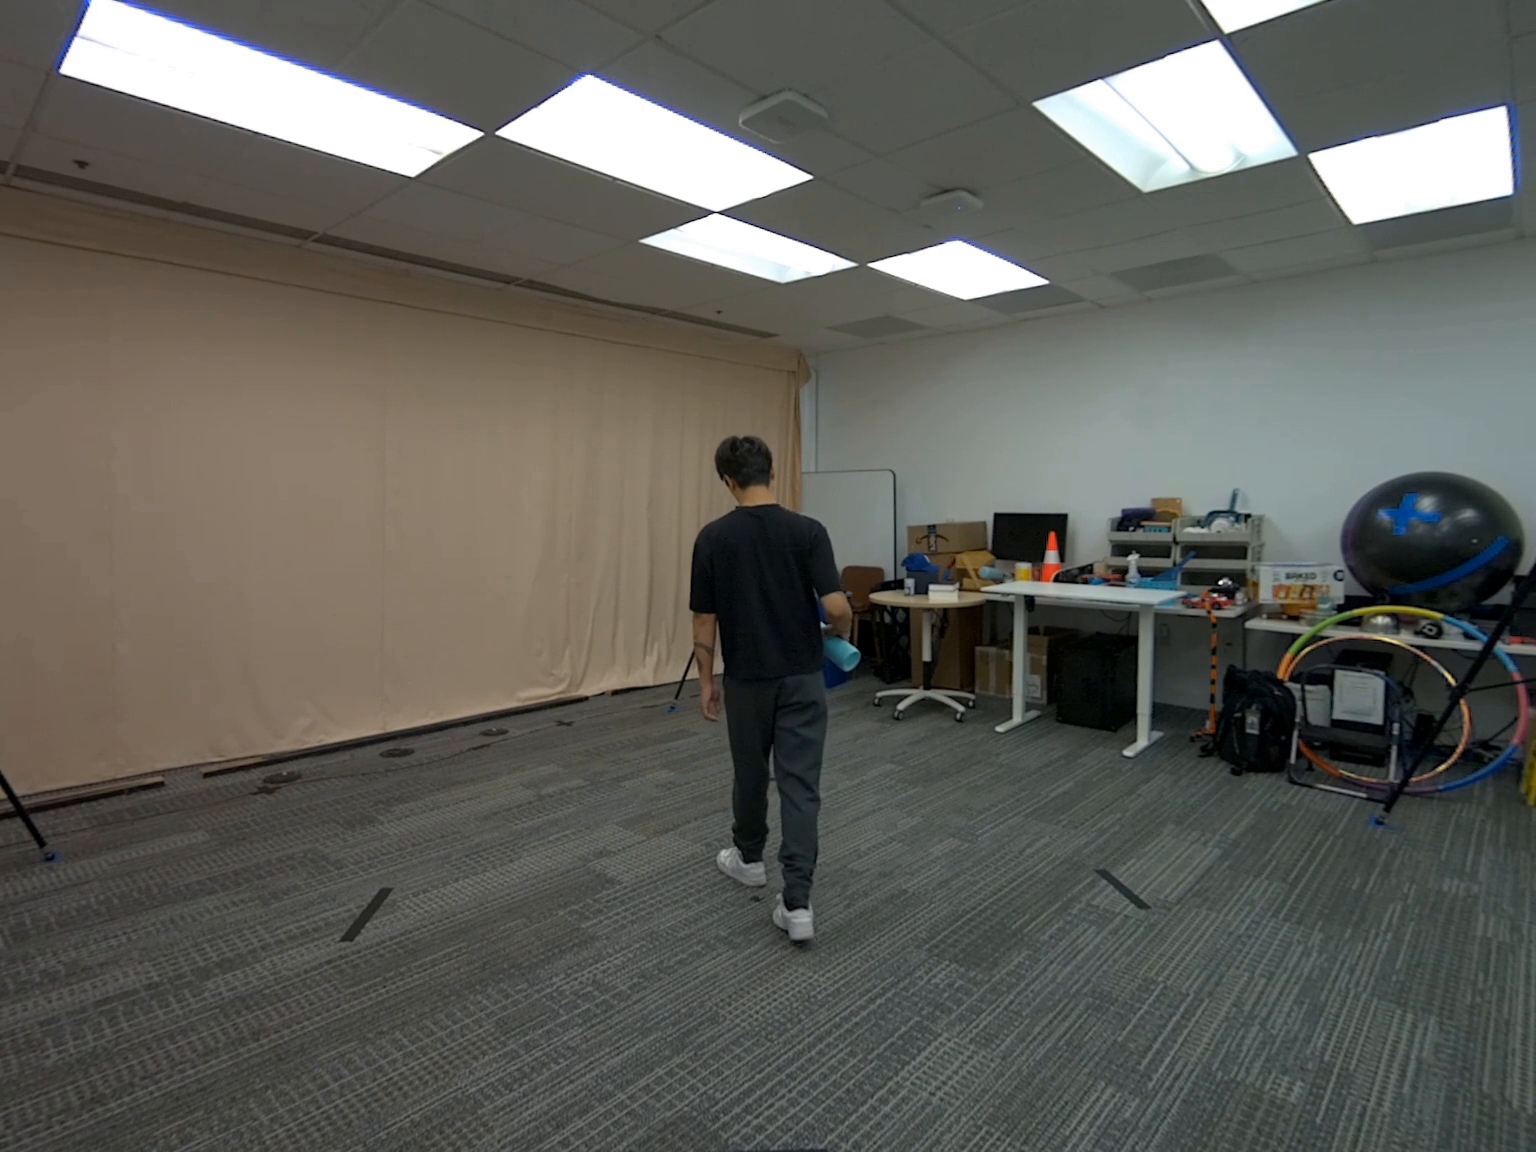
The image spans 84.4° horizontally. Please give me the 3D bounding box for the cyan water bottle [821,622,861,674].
[{"bbox_3d":[0.207,0.230,3.062,0.089,0.092,0.294,-3,30,-41],"label":"cyan water bottle"}]
